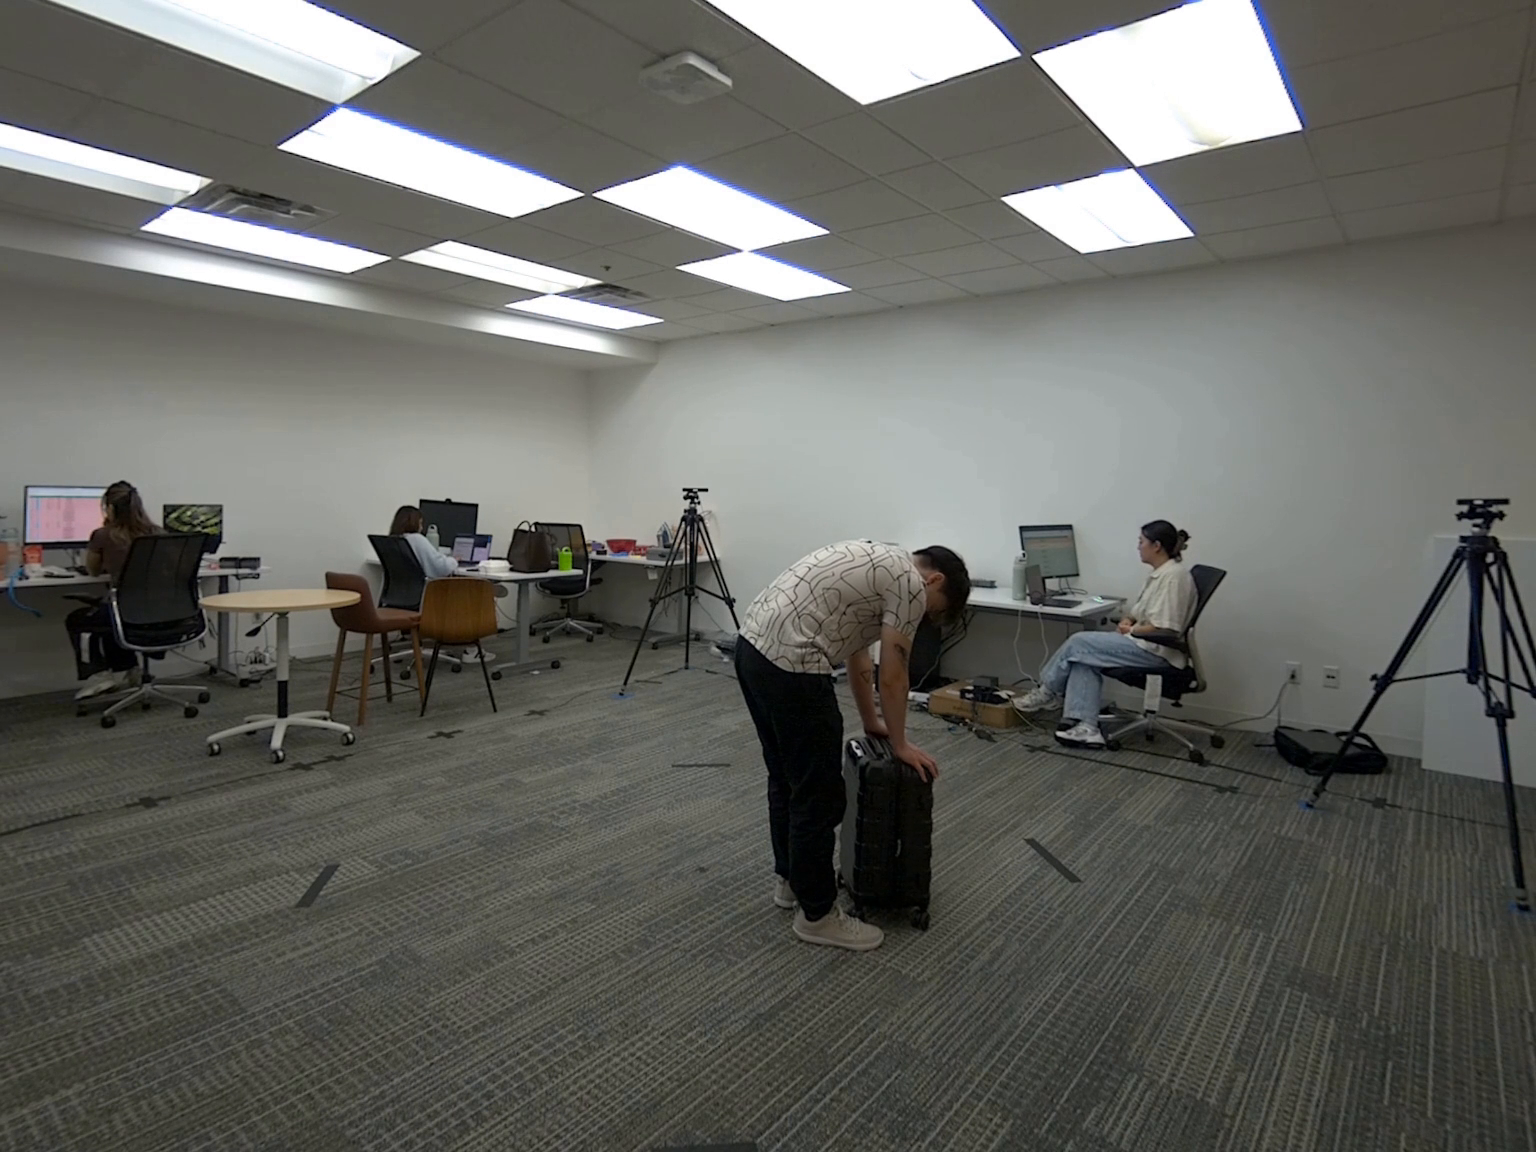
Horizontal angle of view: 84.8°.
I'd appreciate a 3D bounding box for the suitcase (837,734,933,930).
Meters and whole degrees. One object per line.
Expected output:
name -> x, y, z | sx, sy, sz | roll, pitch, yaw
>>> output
suitcase -> 0.393, 0.834, 2.877 | 0.248, 0.548, 0.377 | 2, 3, -3
